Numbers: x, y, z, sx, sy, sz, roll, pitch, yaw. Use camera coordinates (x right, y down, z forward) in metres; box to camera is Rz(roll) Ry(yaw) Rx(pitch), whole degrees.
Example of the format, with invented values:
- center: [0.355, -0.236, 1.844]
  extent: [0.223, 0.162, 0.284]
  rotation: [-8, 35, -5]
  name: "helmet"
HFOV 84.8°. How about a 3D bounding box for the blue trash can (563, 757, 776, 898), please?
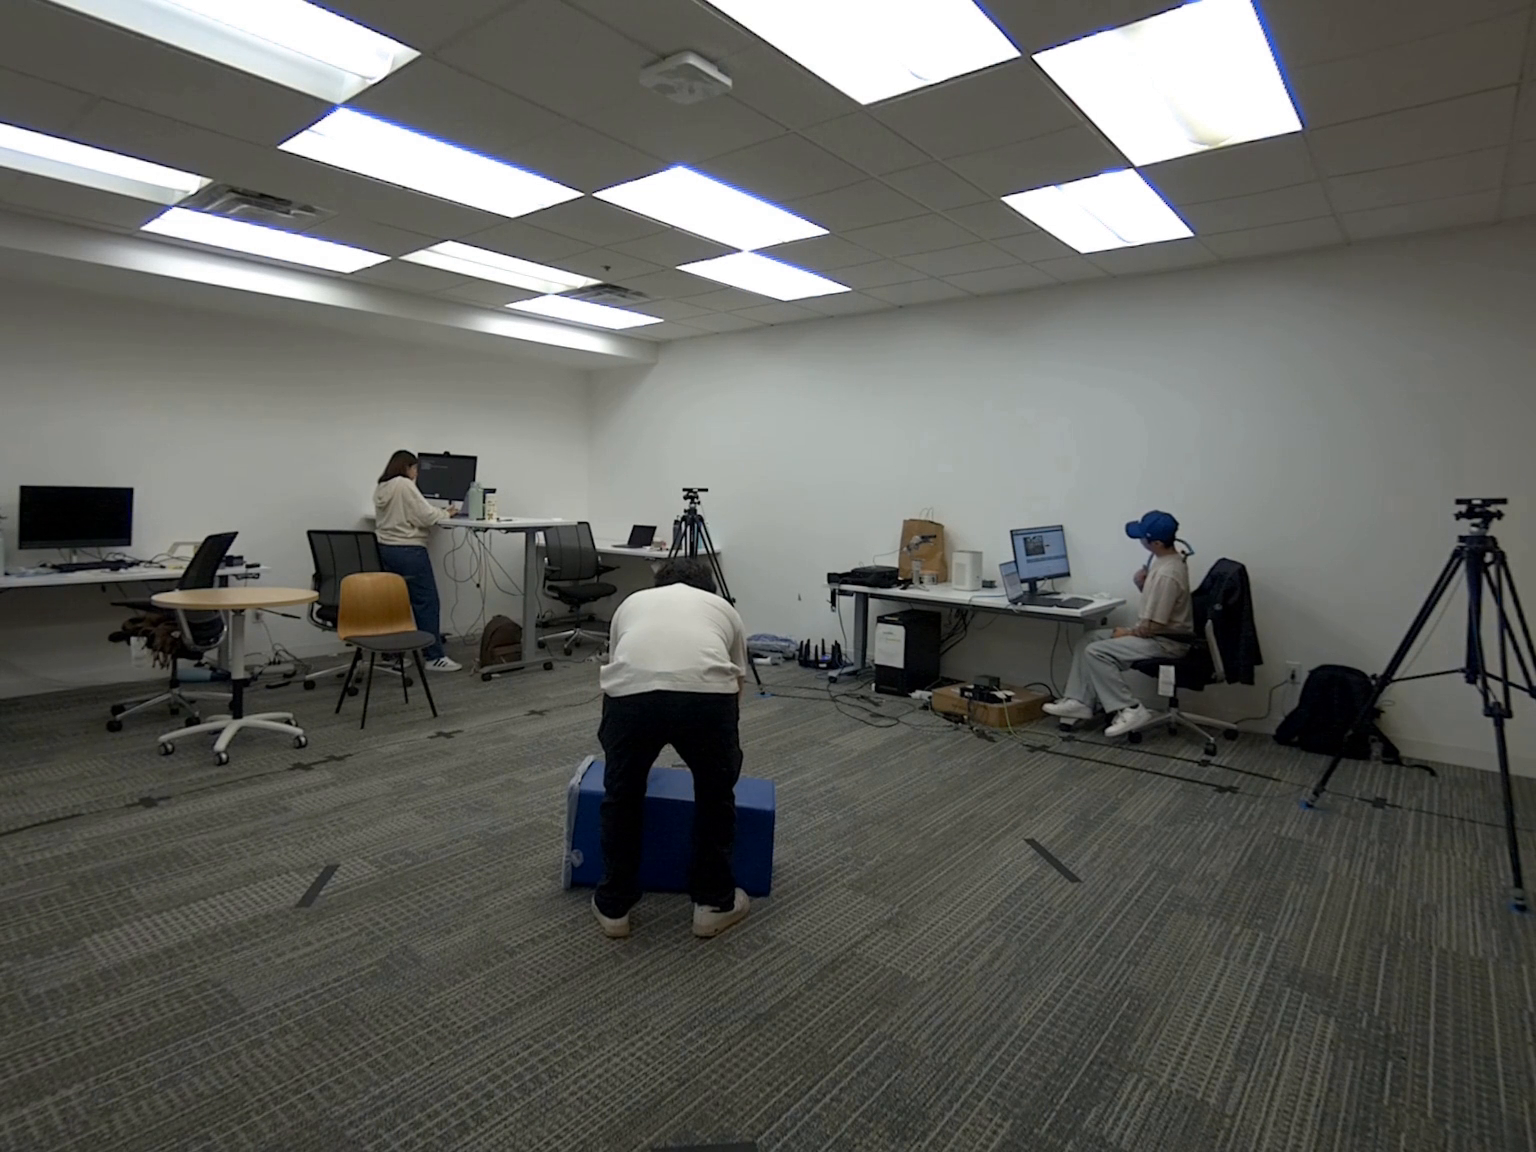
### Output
- center: [-0.354, 0.903, 3.068]
  extent: [0.715, 0.377, 0.374]
  rotation: [4, 3, 2]
  name: "blue trash can"
